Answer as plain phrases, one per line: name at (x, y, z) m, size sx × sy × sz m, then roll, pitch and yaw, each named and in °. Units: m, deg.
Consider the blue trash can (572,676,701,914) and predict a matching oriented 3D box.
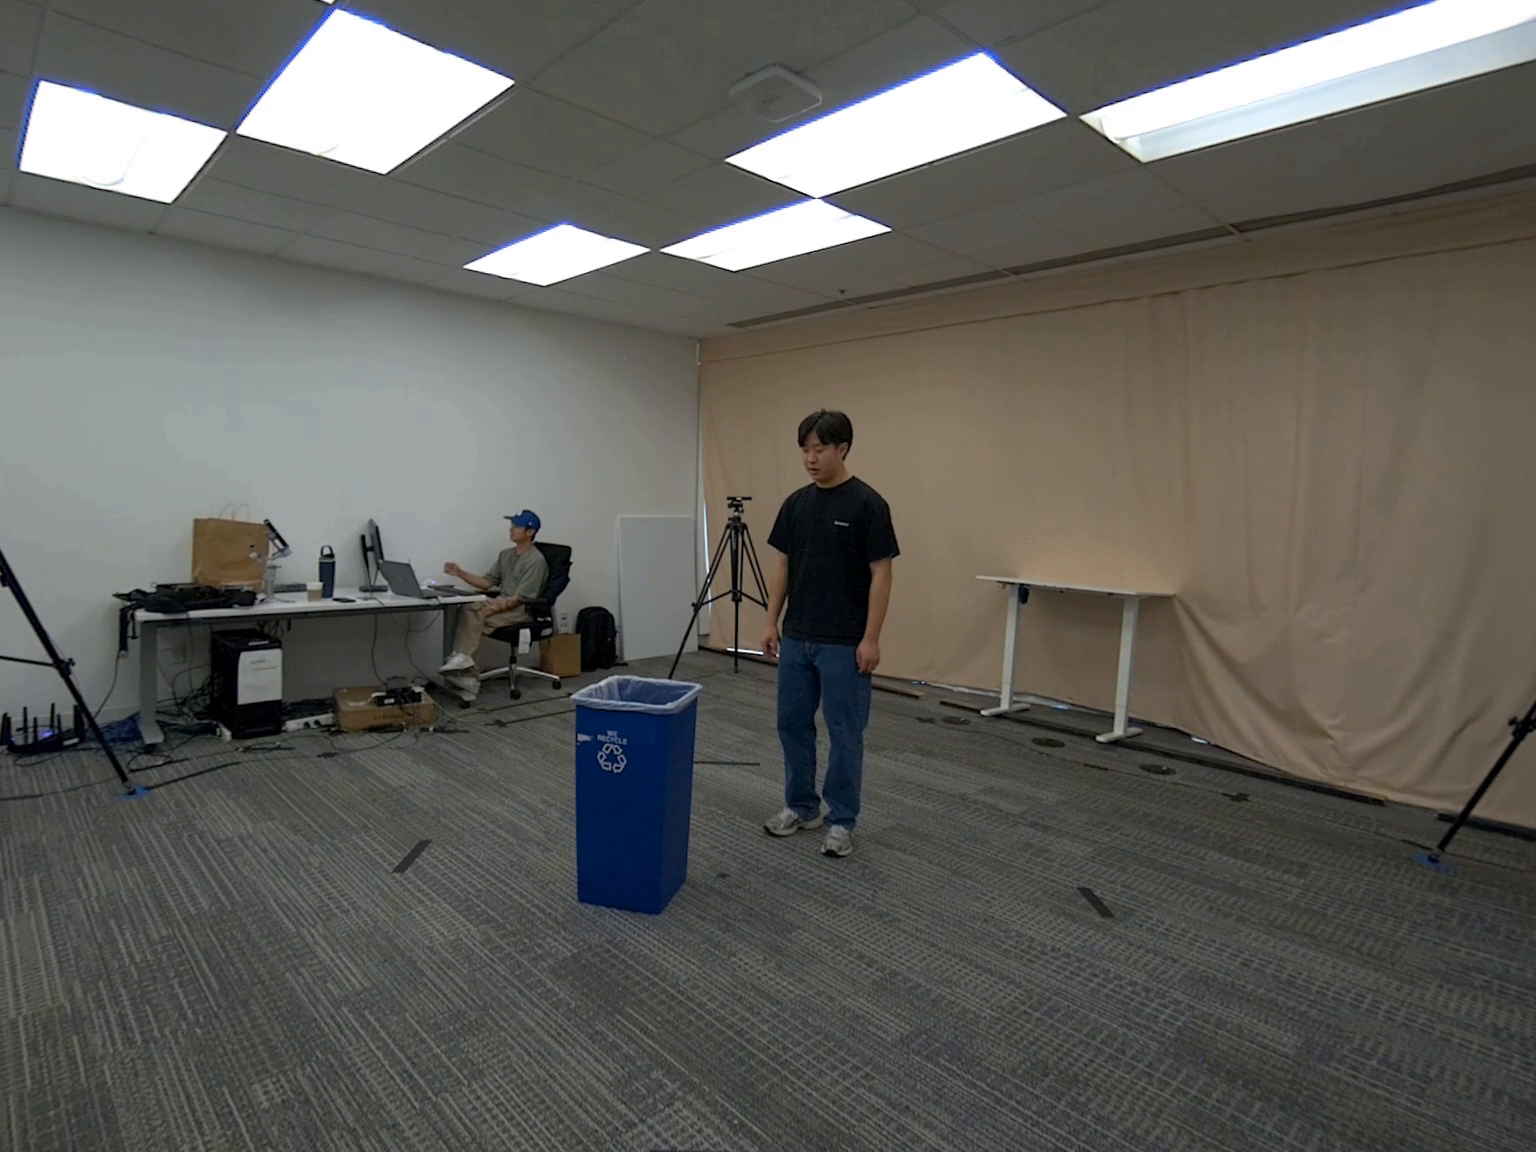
blue trash can at (-0.474, 0.755, 2.956) m, size 0.379 × 0.712 × 0.374 m, roll 4°, pitch 4°, yaw 14°
